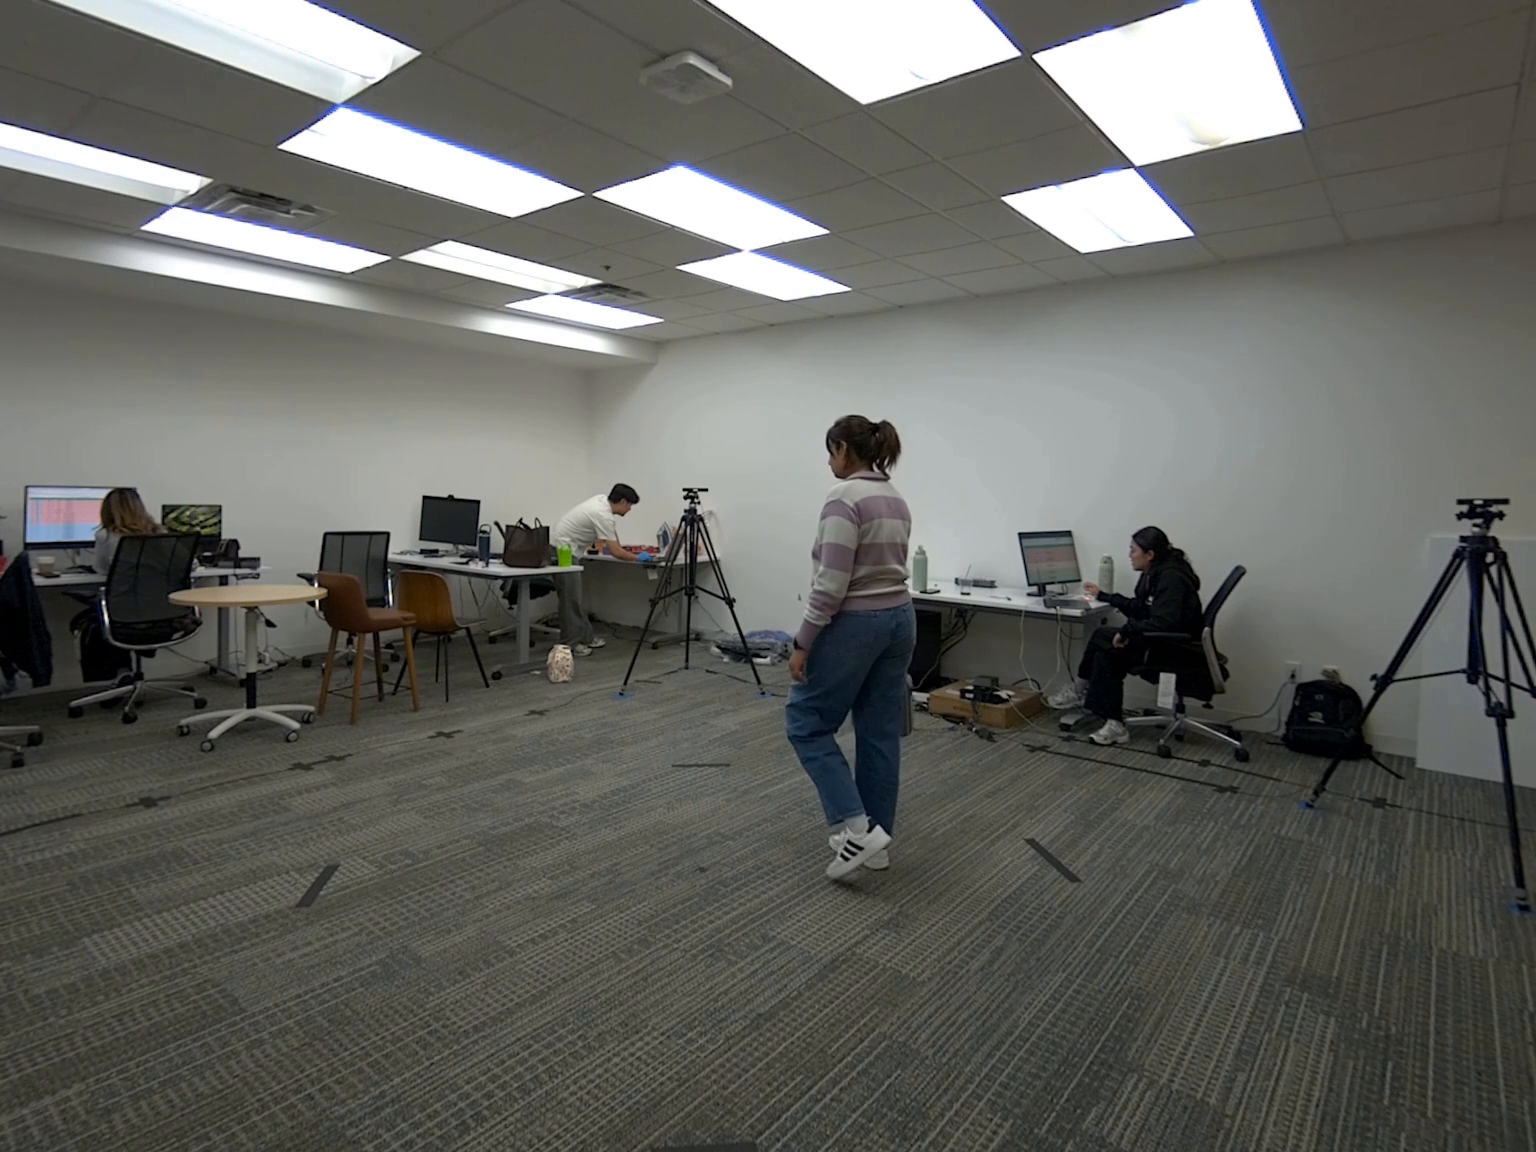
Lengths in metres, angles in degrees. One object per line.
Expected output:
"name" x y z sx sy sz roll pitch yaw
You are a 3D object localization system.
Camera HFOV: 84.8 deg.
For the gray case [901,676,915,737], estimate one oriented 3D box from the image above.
"gray case" 0.452 0.503 3.486 0.264 0.257 0.103 4 17 28
